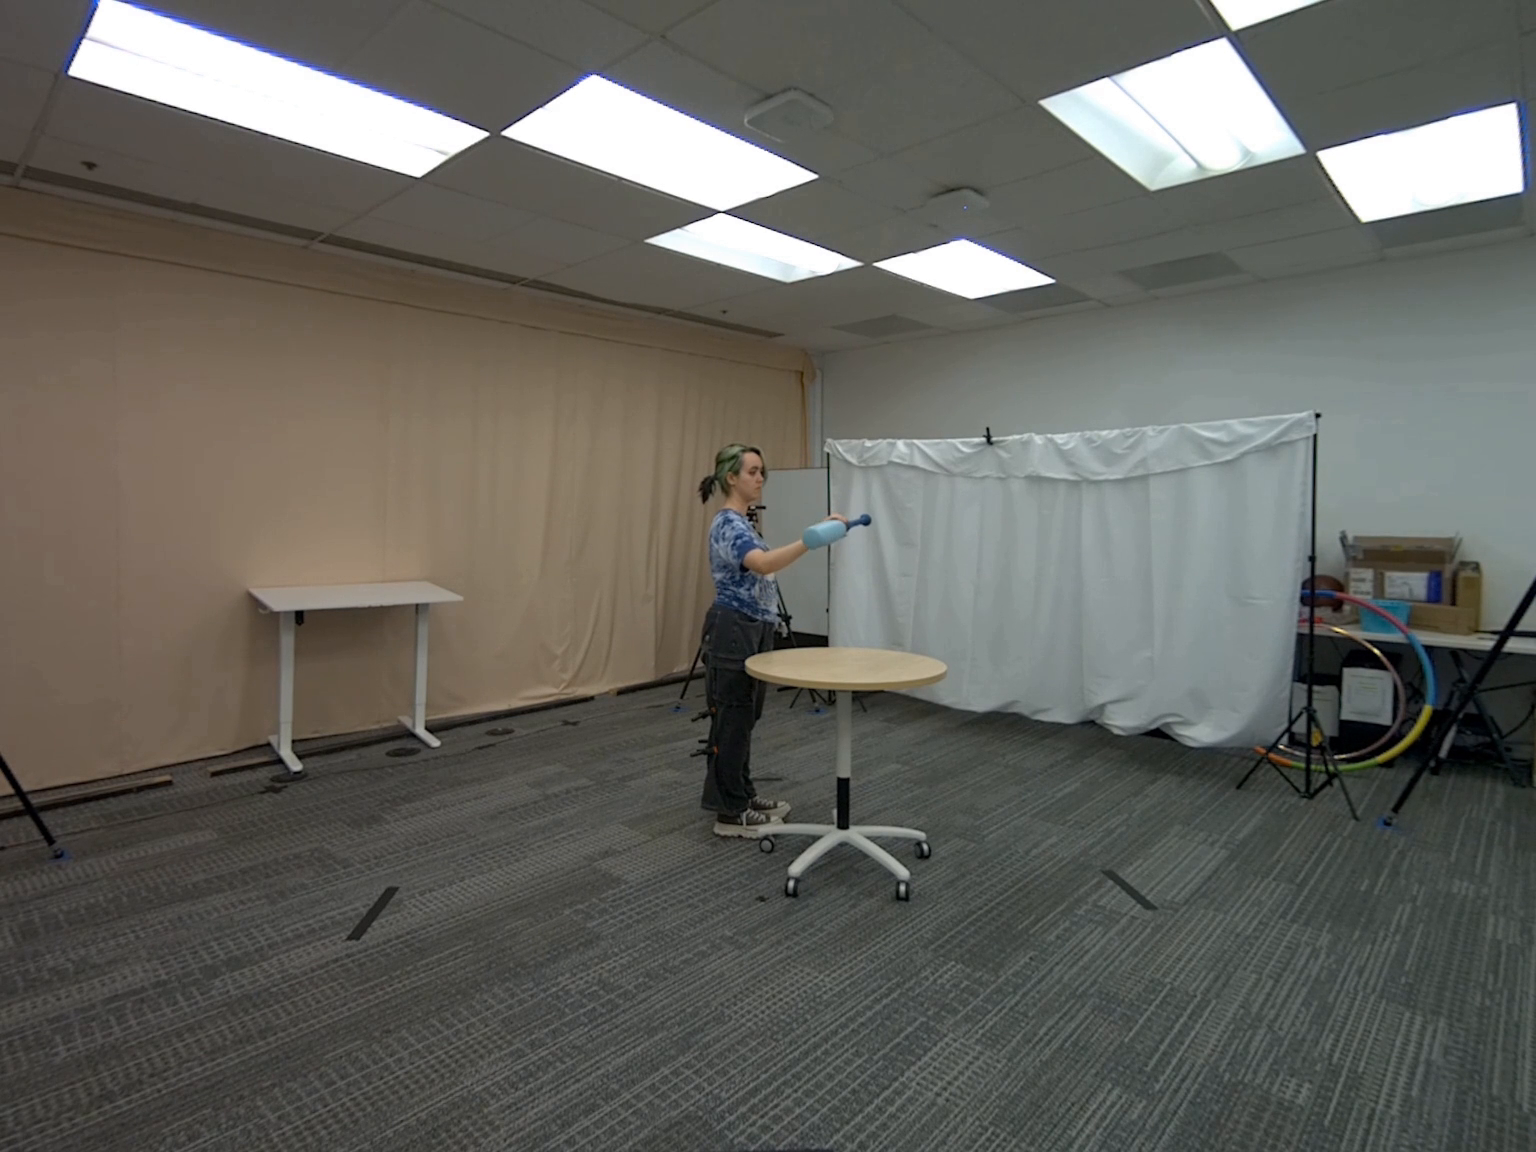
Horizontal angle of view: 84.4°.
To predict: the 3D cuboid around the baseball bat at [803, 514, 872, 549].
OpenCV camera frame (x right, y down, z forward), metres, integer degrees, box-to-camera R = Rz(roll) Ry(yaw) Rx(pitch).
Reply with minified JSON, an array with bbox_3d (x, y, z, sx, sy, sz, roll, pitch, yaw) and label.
[{"bbox_3d":[0.303,-0.187,3.304,0.091,0.088,0.531,2,11,28],"label":"baseball bat"}]
